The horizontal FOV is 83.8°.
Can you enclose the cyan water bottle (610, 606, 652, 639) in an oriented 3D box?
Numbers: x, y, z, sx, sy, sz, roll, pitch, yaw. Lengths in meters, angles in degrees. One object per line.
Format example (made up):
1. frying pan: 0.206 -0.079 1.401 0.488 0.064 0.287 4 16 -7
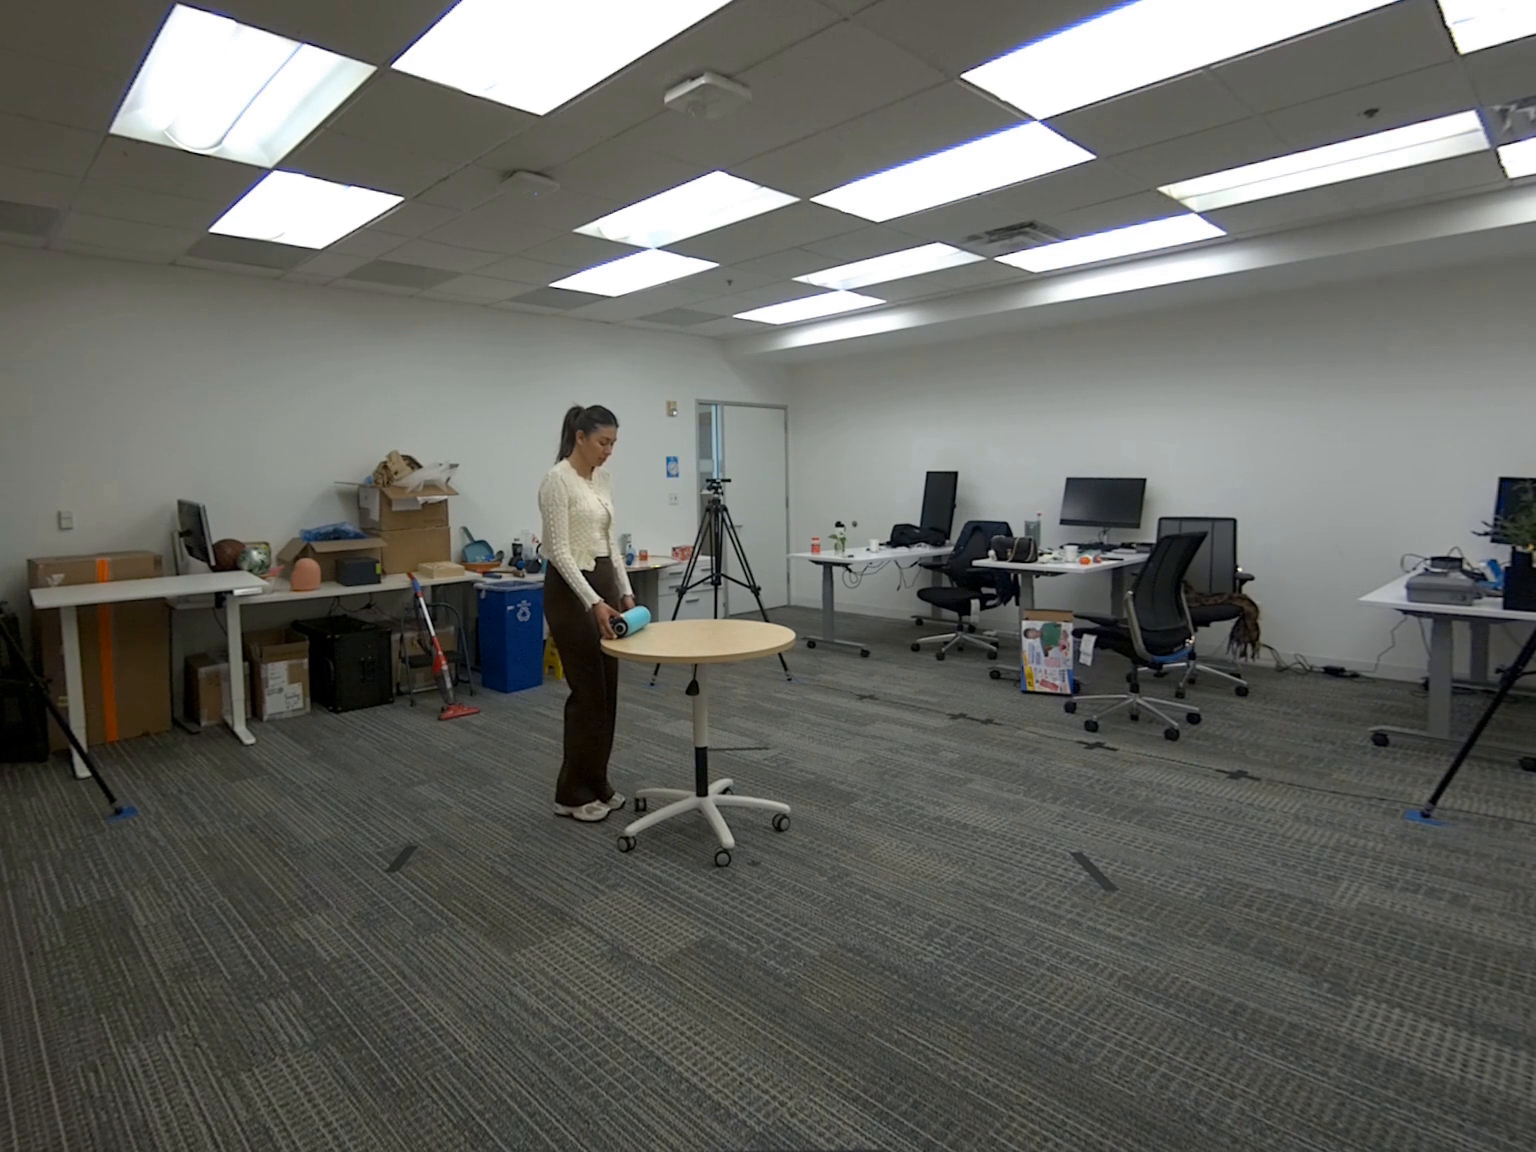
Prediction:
1. cyan water bottle: -0.572 0.190 3.464 0.093 0.092 0.281 0 7 12
